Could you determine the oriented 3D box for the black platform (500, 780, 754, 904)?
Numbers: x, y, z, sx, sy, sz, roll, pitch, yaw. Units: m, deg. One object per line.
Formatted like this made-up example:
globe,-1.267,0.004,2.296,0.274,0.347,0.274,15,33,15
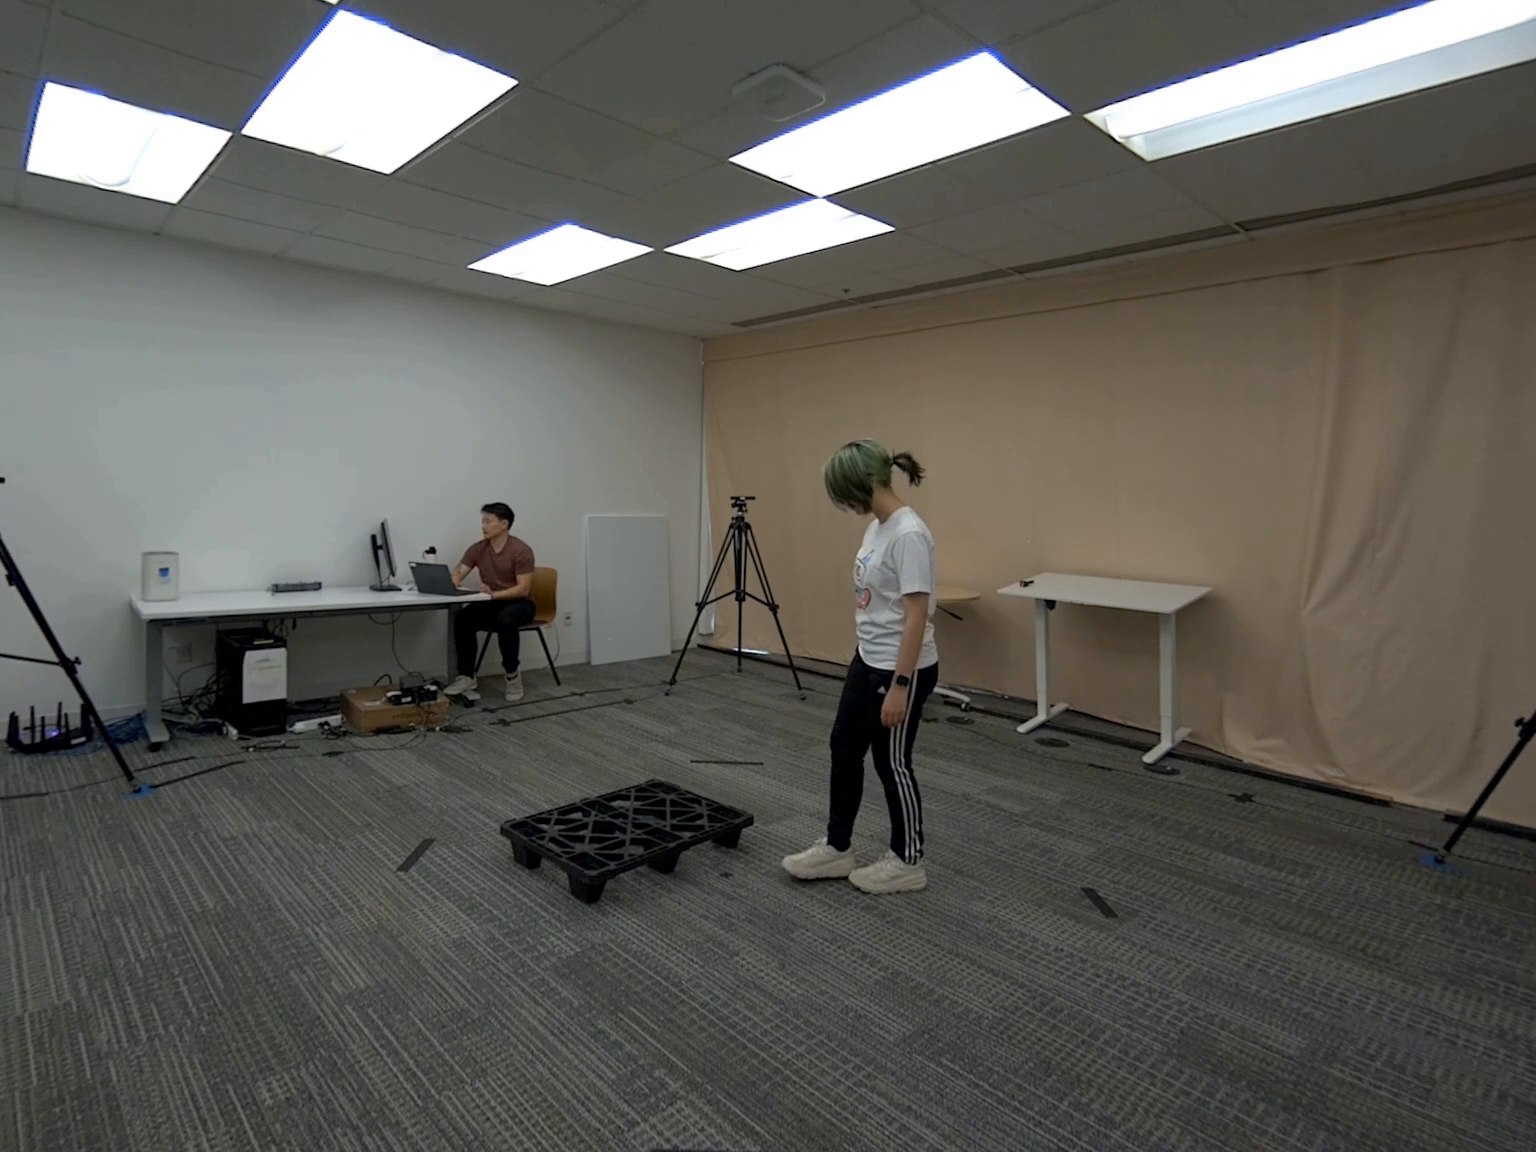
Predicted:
black platform,-0.539,1.014,3.273,0.621,0.143,0.787,7,7,43
